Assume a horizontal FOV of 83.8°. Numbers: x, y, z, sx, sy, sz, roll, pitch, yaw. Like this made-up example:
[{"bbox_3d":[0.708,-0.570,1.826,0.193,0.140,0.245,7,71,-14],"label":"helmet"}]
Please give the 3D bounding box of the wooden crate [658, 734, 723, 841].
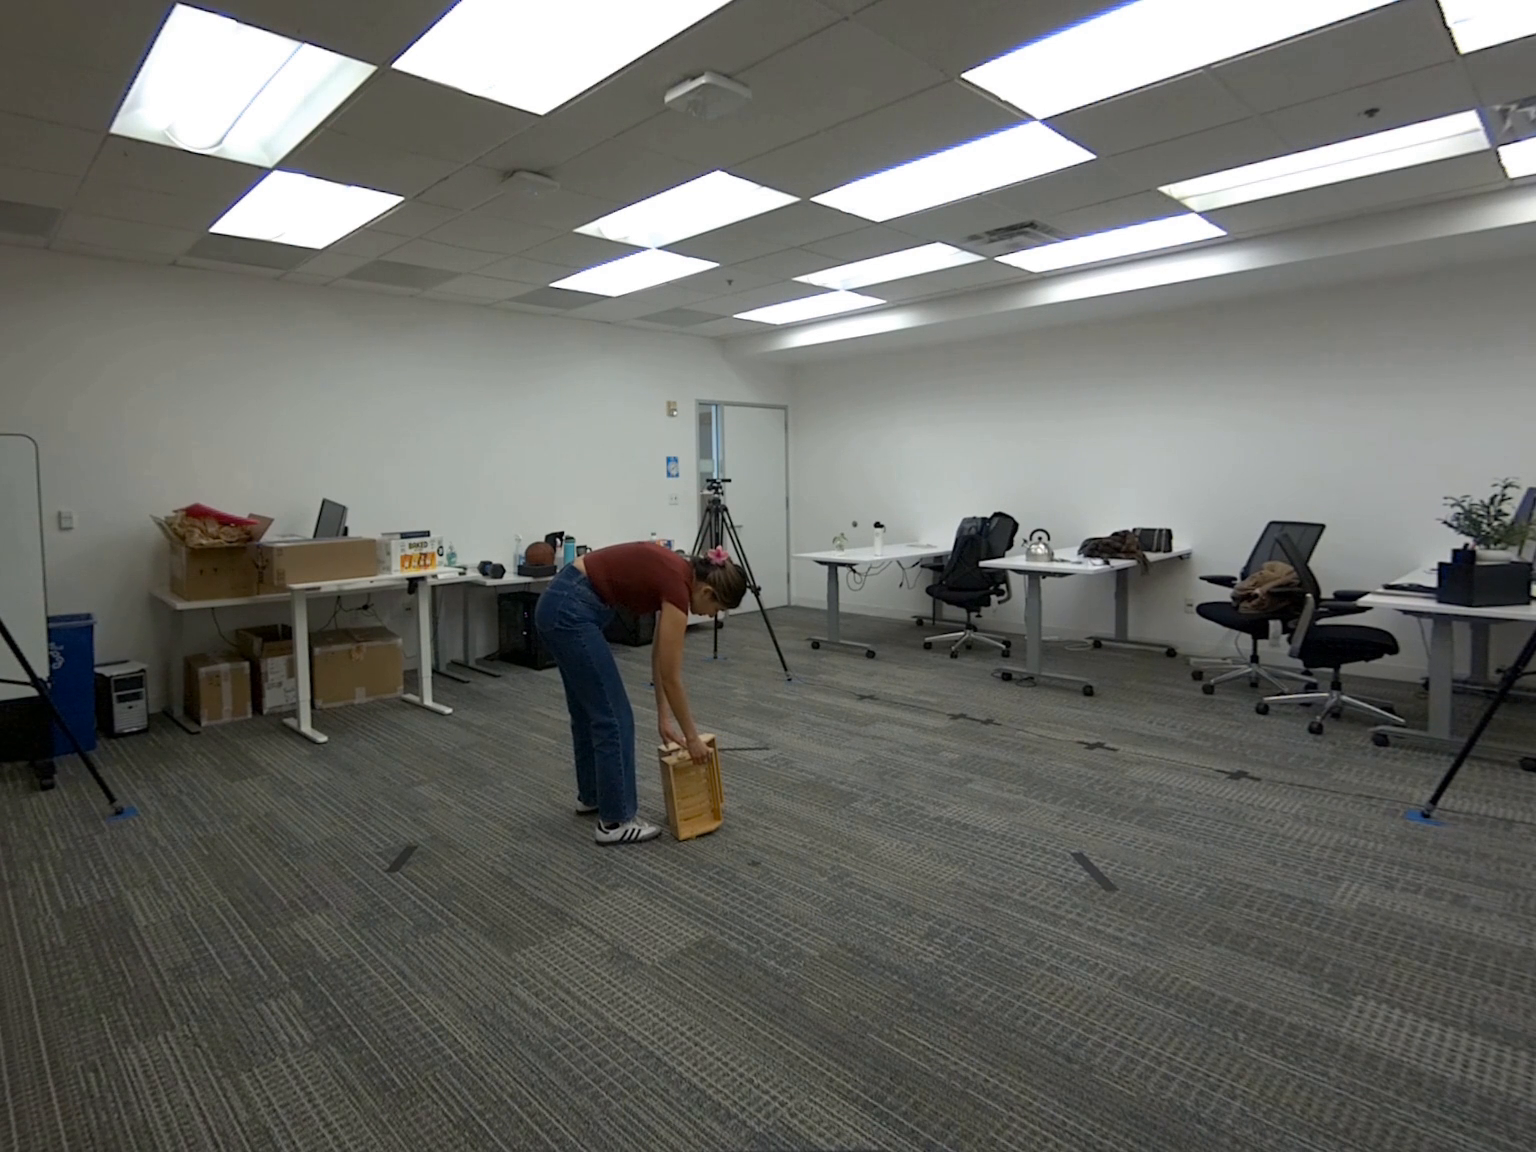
[{"bbox_3d":[-0.290,0.836,3.454,0.296,0.323,0.280,-9,5,-26],"label":"wooden crate"}]
